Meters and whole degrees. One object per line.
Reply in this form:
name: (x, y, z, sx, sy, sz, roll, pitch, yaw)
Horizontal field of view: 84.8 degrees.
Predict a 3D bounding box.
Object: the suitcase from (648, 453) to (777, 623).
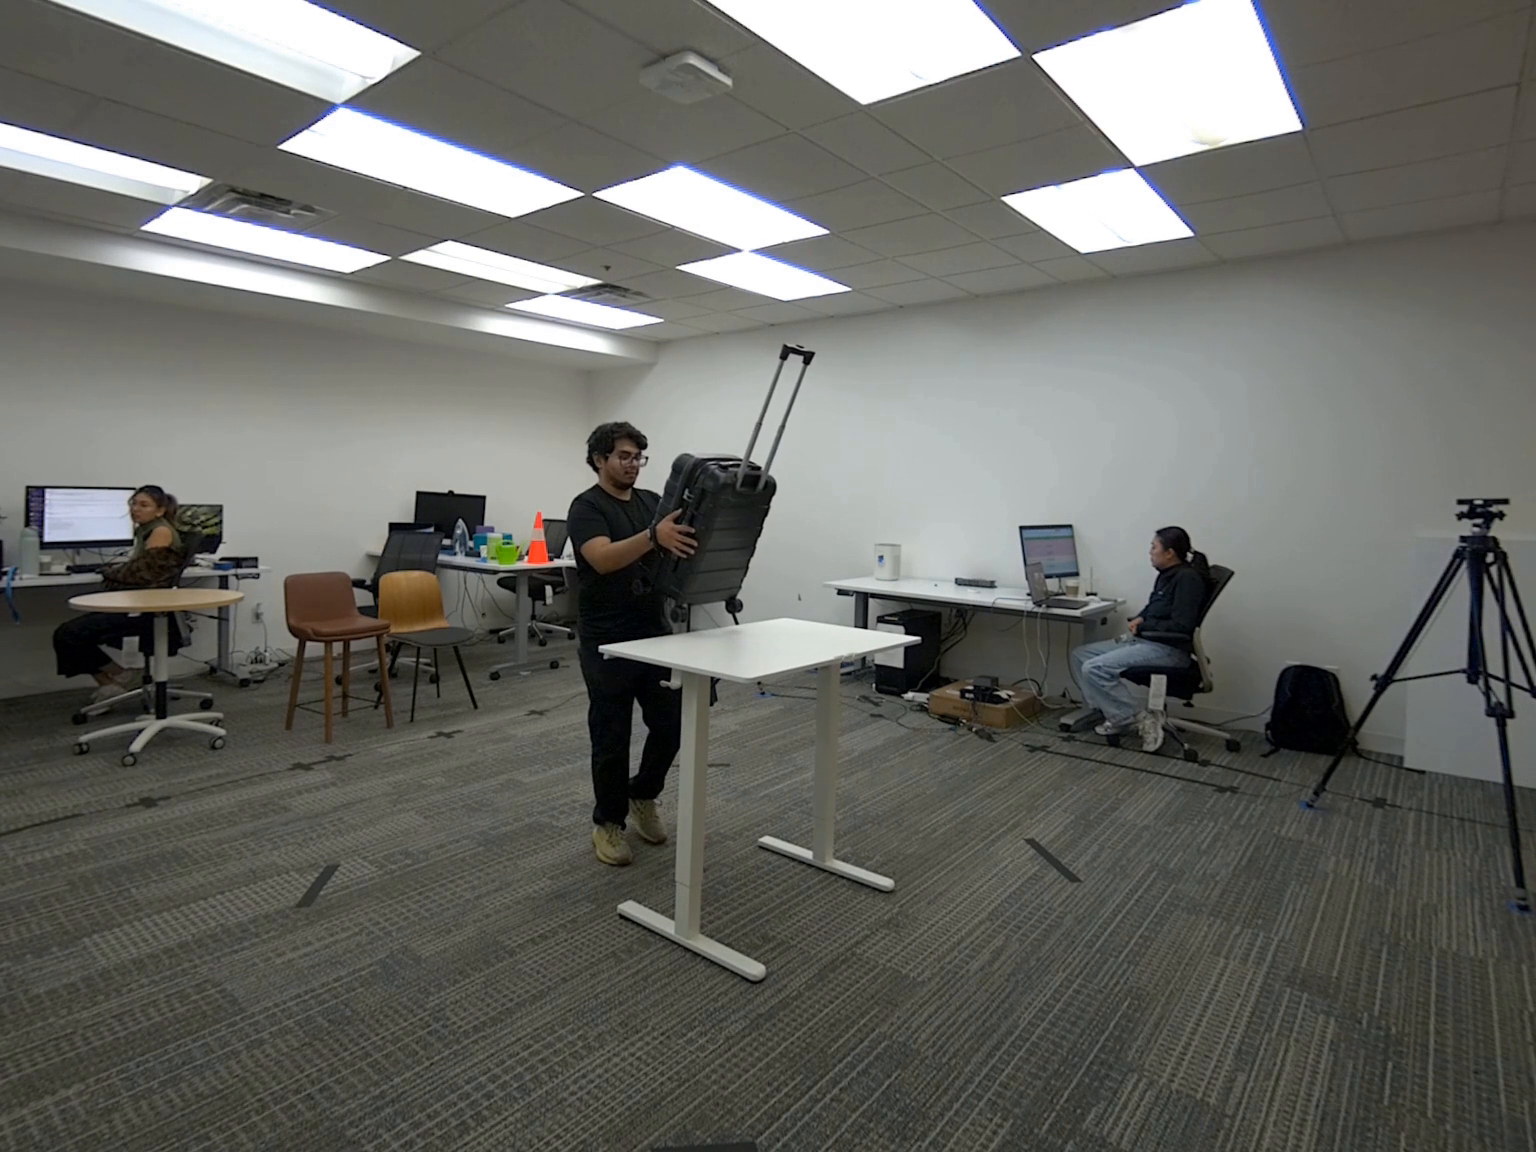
suitcase: (-0.156, -0.340, 2.914, 0.267, 0.969, 0.372, 30, 20, 34)
